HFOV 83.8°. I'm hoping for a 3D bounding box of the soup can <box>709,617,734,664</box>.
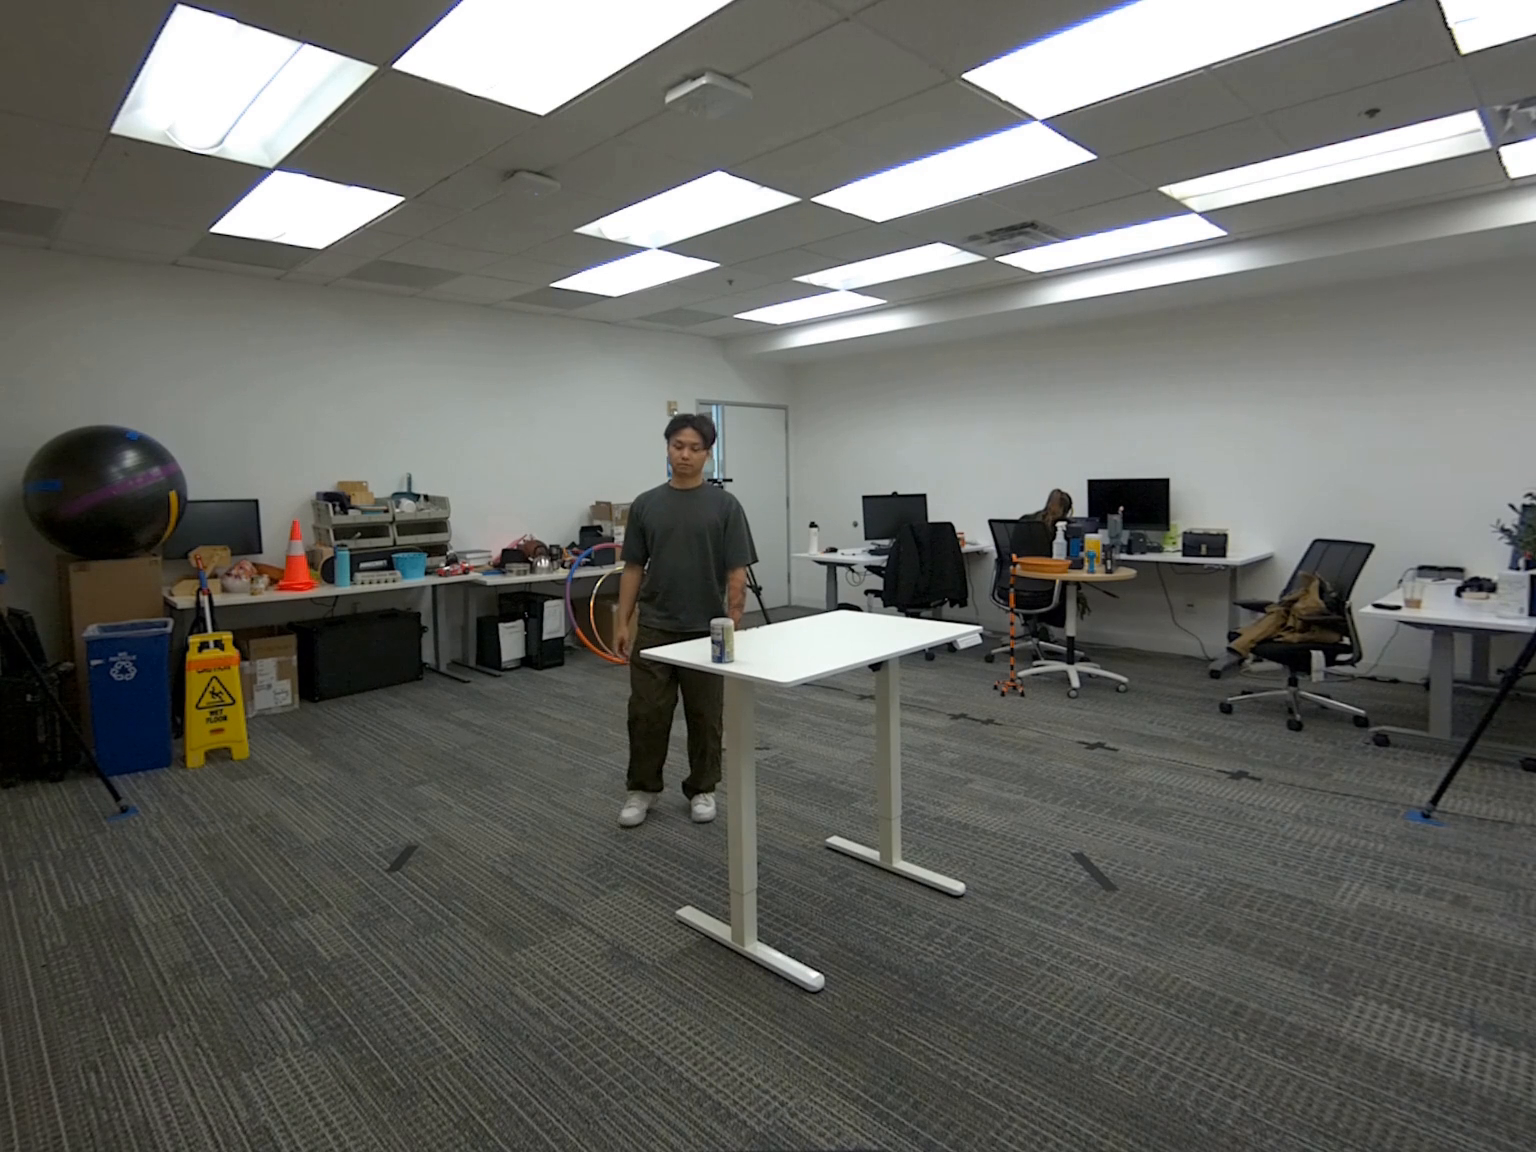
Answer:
[{"bbox_3d":[-0.126,0.190,2.433,0.067,0.121,0.067,-4,3,-1],"label":"soup can"}]
